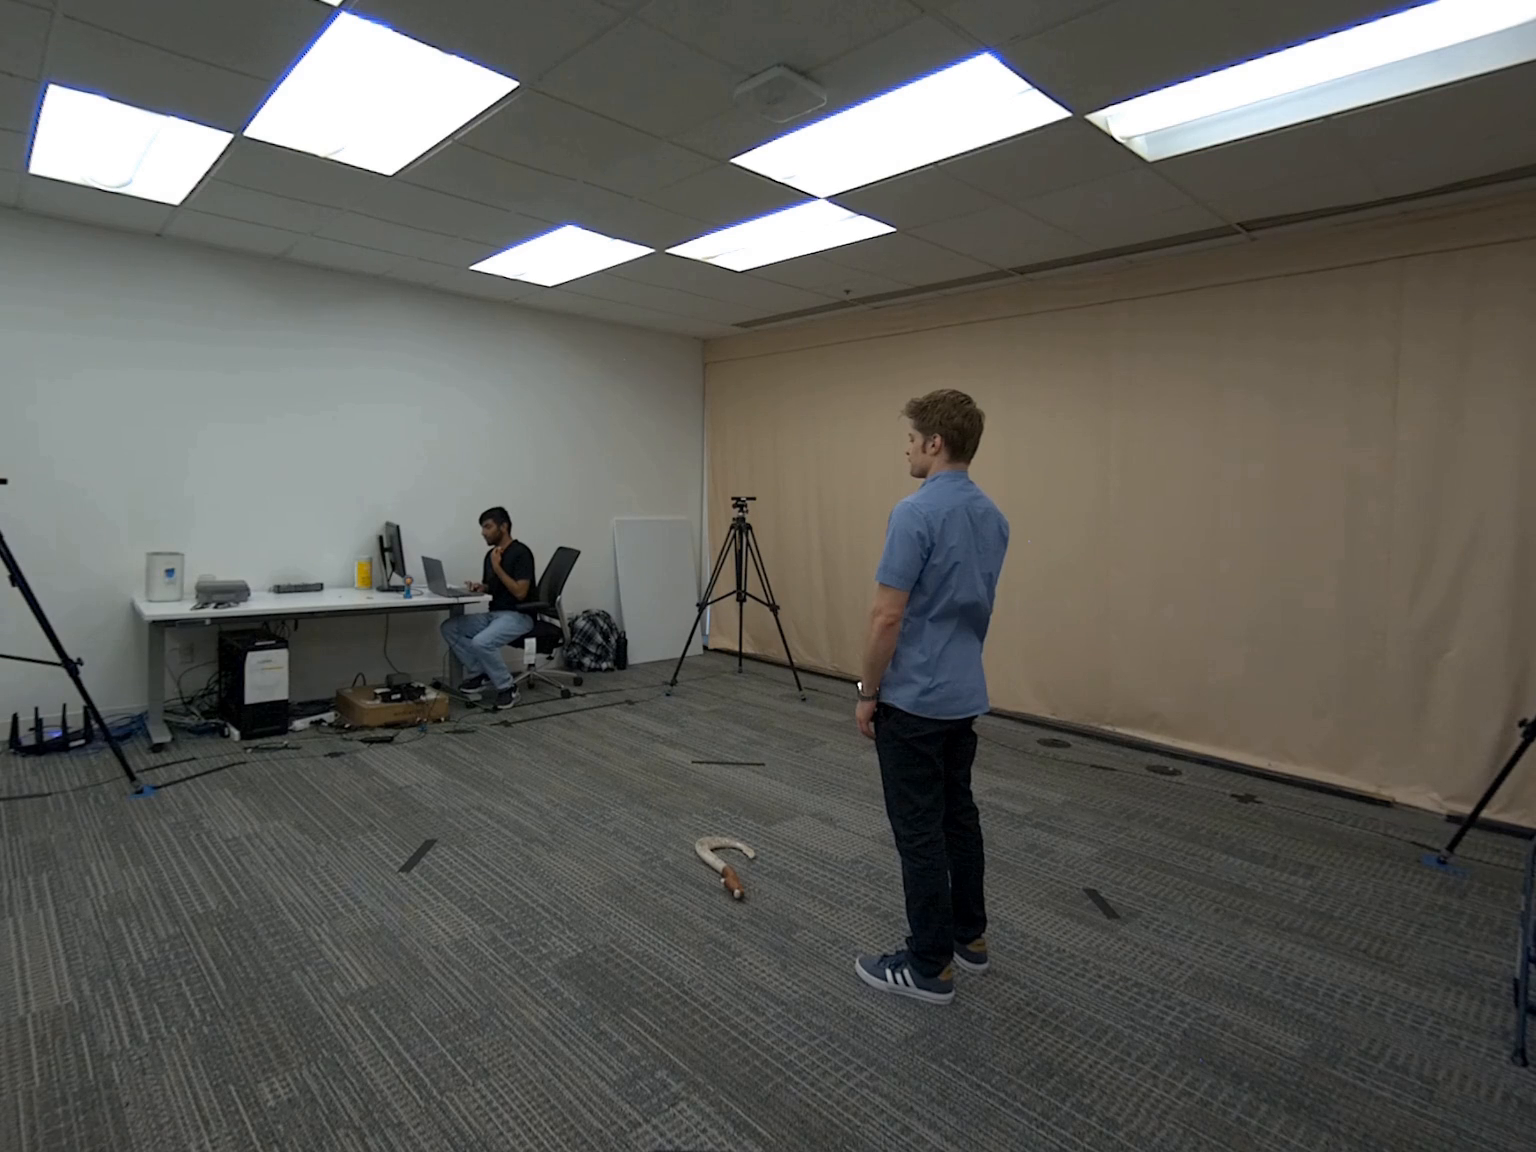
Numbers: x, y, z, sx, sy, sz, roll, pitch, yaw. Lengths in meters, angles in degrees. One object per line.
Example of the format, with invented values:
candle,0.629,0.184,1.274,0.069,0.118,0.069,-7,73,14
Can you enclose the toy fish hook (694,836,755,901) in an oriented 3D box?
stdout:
toy fish hook,-0.134,1.081,3.149,0.222,0.048,0.515,-1,6,-18
